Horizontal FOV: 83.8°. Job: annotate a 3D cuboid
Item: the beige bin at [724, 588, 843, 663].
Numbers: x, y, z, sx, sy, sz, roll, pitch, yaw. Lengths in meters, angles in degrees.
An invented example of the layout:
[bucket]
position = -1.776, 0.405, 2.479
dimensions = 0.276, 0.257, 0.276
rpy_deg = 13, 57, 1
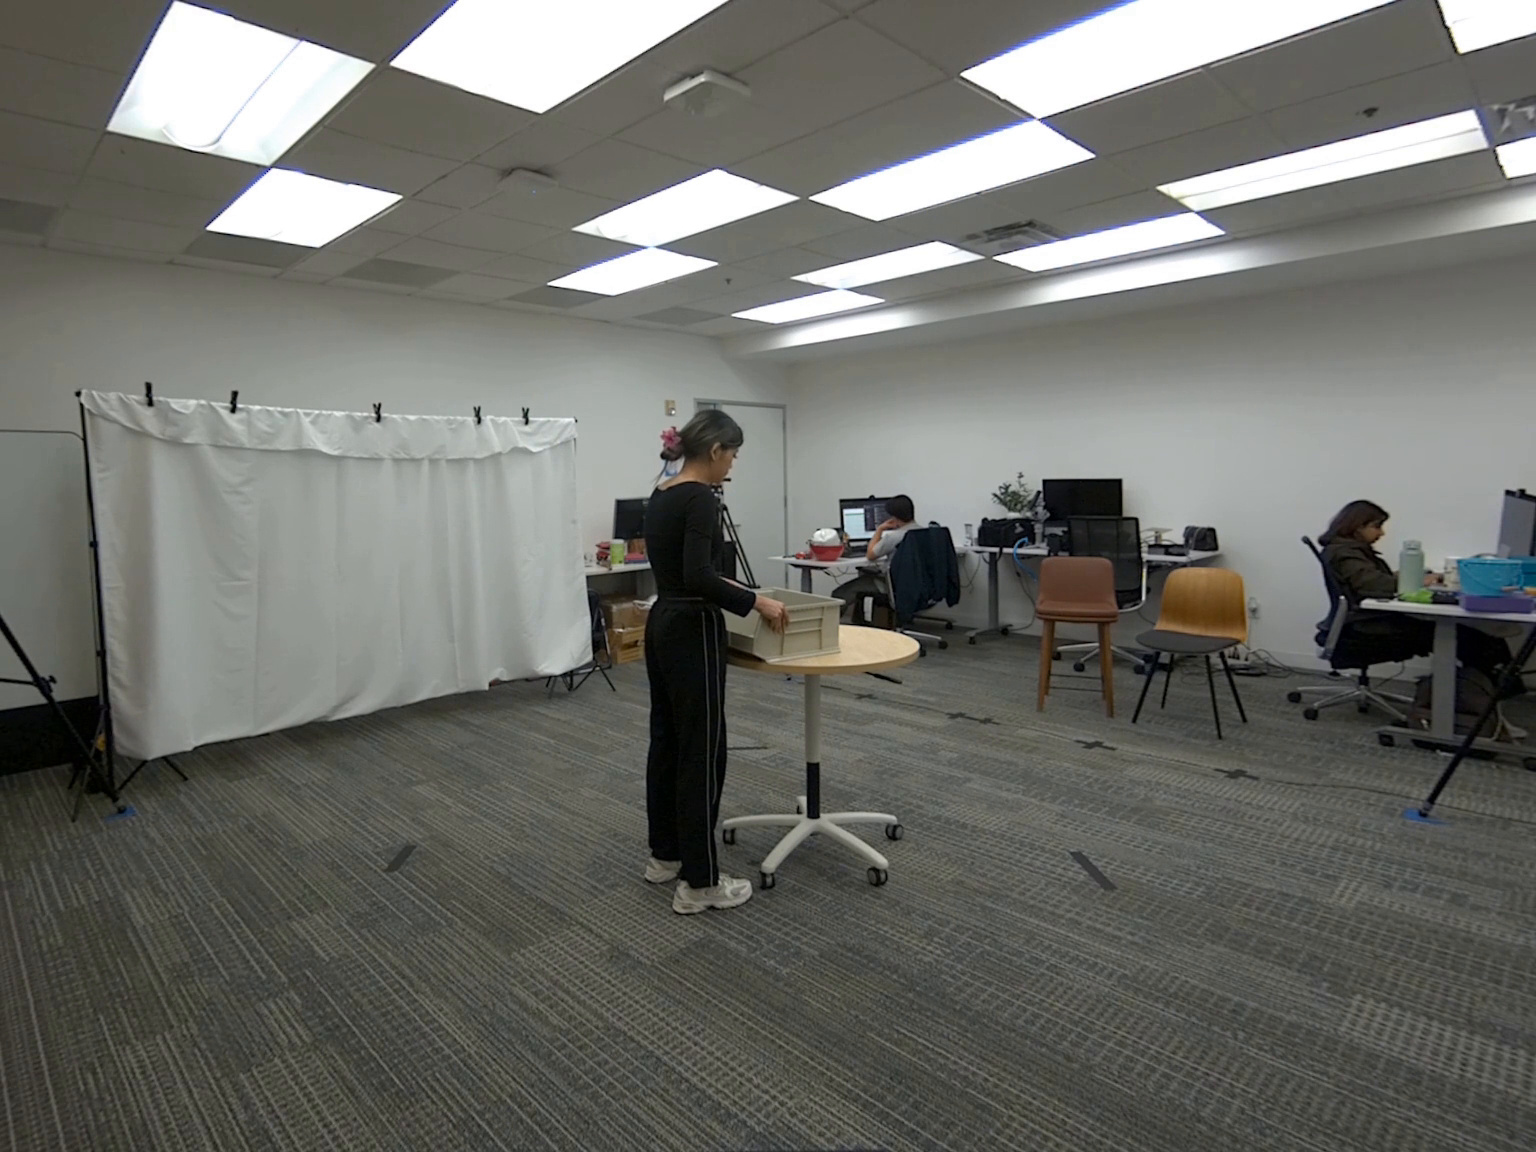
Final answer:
[beige bin]
position = -0.007, 0.162, 3.018
dimensions = 0.368, 0.188, 0.434
rpy_deg = -1, 5, -32
